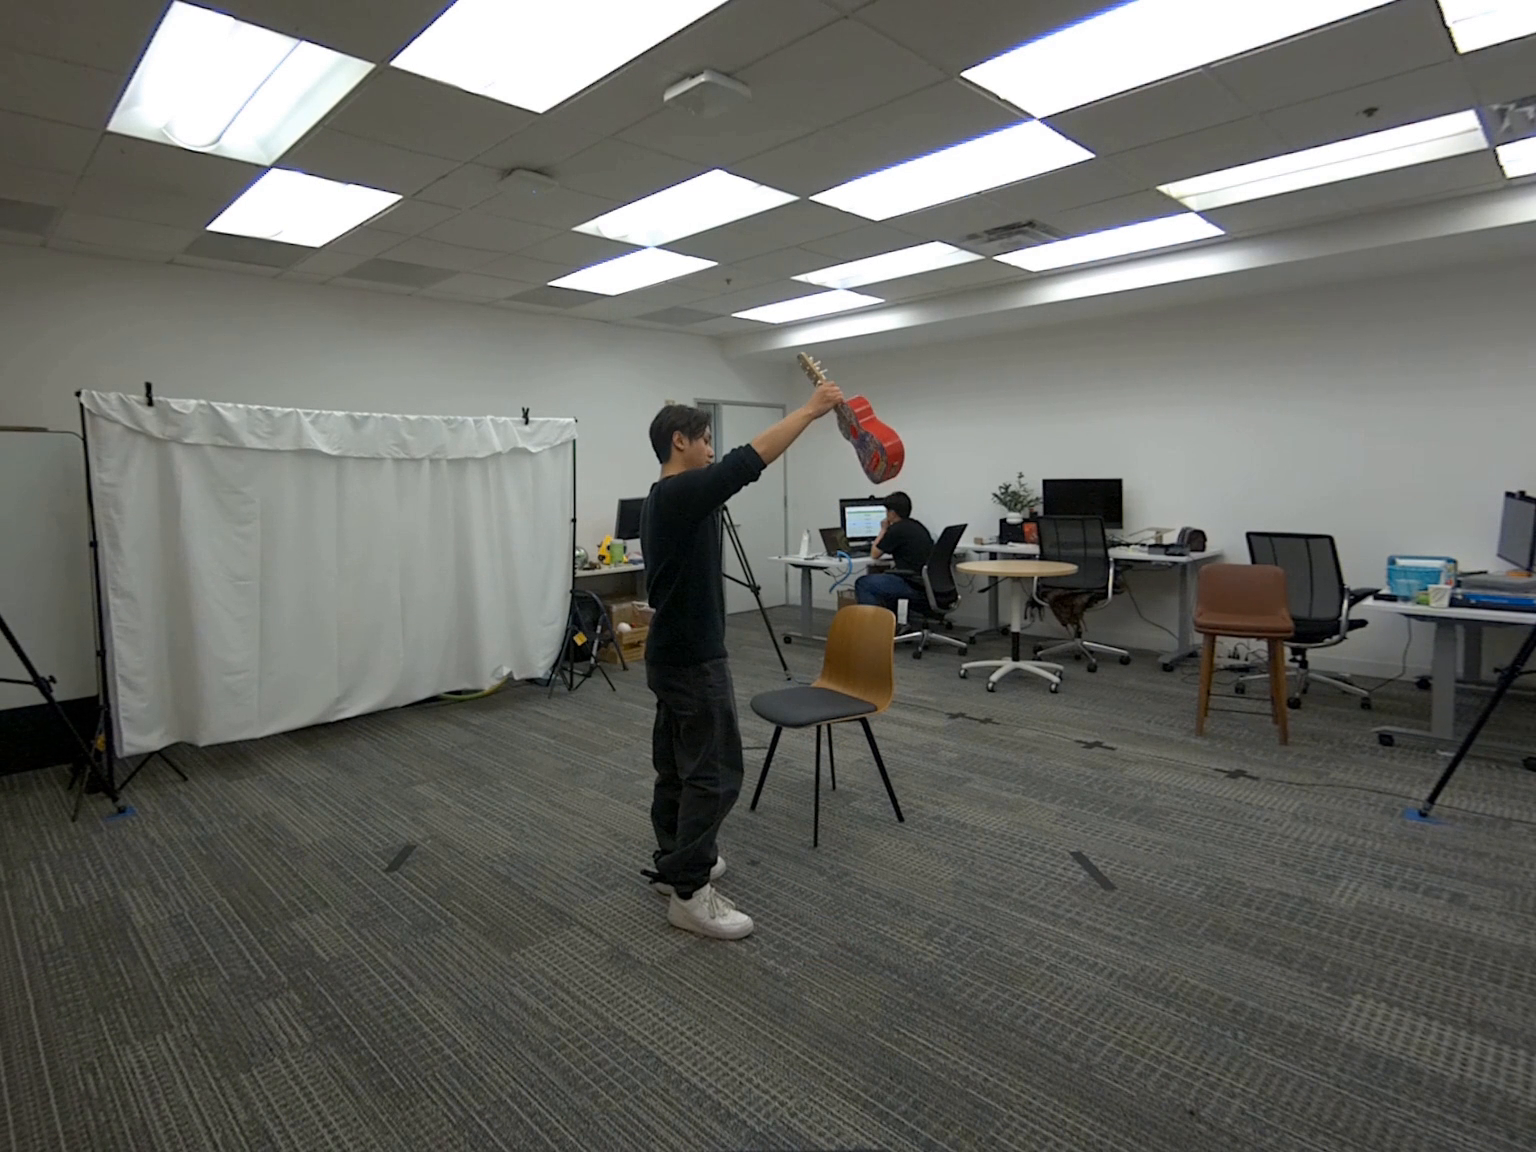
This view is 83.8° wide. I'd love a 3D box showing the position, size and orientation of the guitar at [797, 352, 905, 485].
[{"bbox_3d":[0.257,-0.504,2.598,0.070,0.506,0.191,-23,-14,-16],"label":"guitar"}]
